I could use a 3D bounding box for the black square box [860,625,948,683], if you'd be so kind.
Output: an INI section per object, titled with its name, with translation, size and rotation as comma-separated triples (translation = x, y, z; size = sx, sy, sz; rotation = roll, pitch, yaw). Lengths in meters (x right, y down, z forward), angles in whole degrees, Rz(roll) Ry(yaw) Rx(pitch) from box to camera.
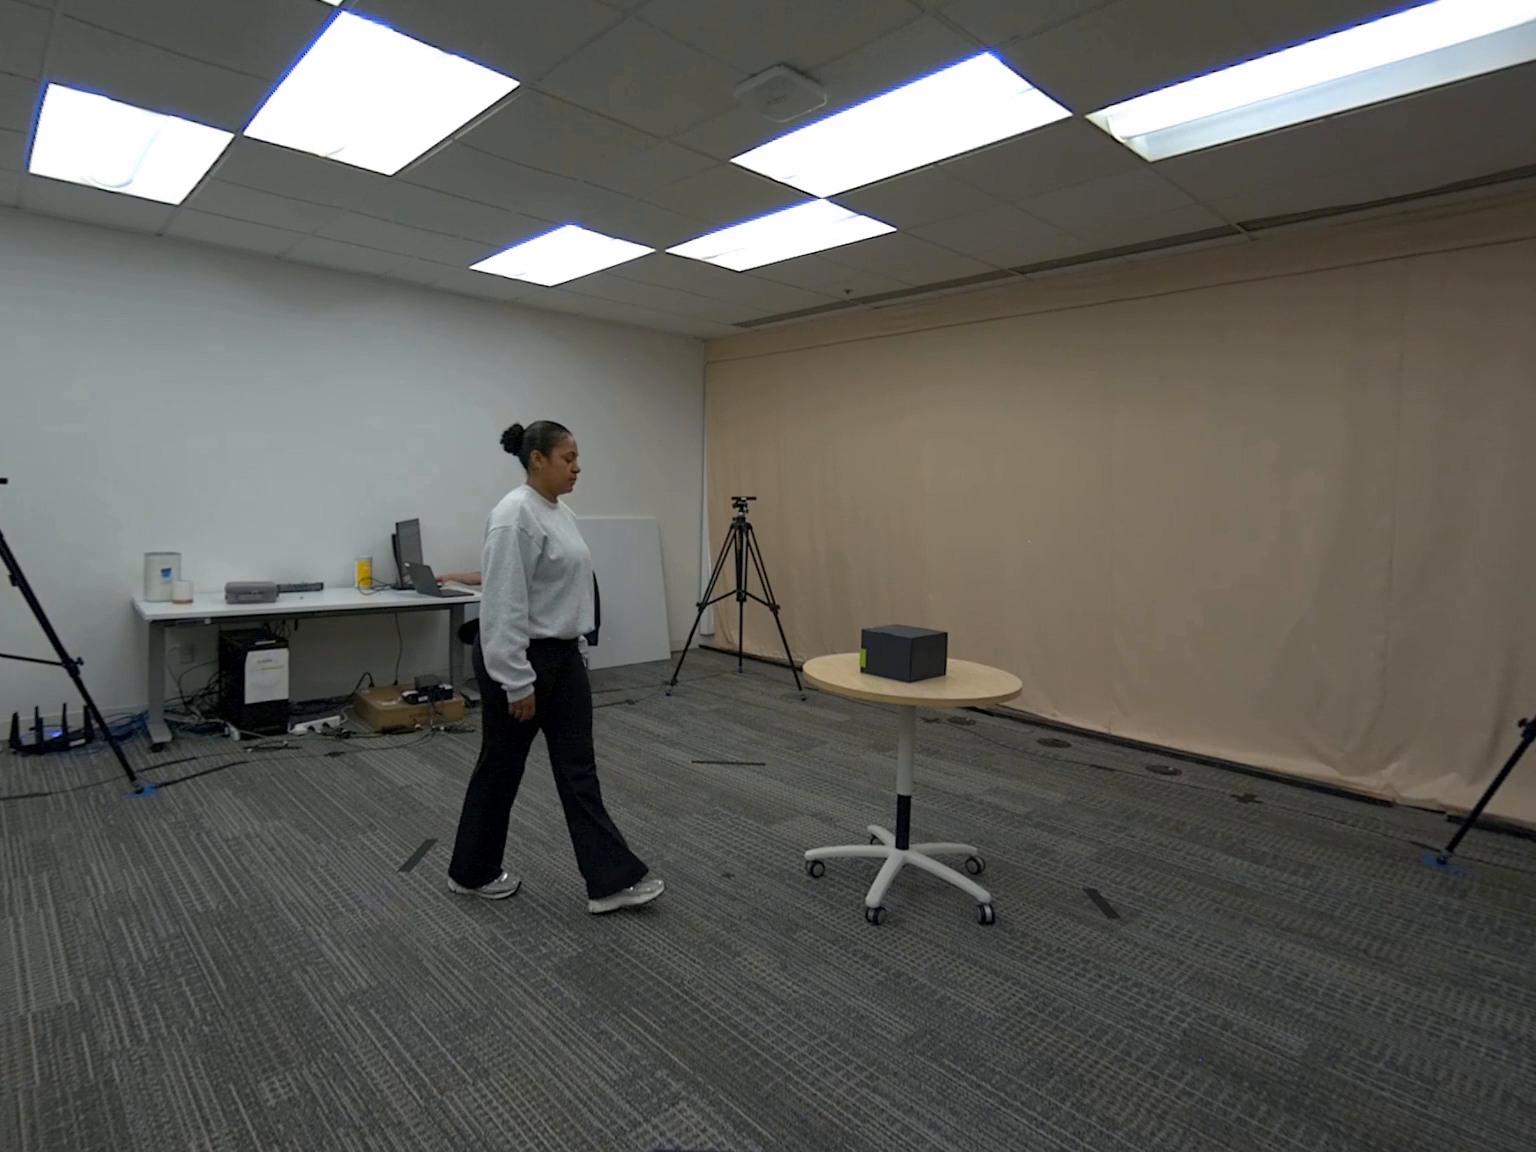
[black square box]
translation = 0.484, 0.268, 2.995
size = 0.222, 0.155, 0.223
rotation = 4, 5, 43
